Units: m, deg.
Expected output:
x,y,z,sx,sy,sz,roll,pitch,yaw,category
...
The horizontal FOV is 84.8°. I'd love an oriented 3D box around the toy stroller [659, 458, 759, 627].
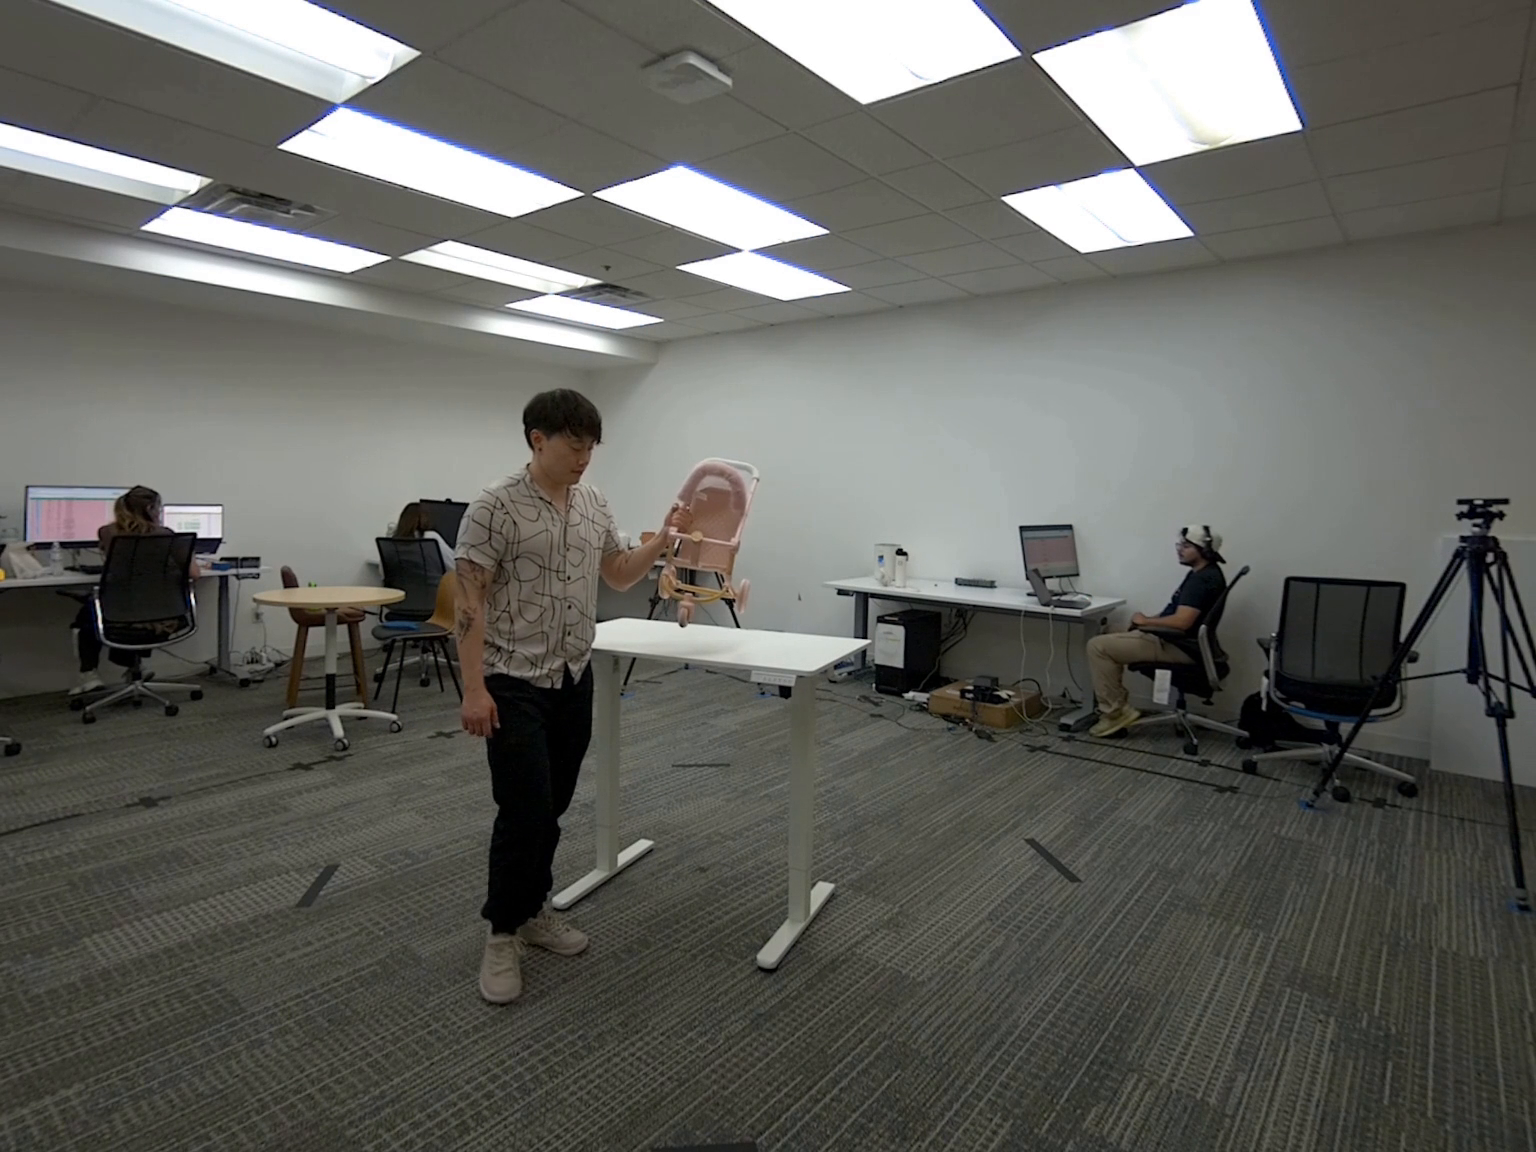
x,y,z,sx,sy,sz,roll,pitch,yaw,category
-0.200,-0.113,2.595,0.286,0.535,0.336,11,0,12,toy stroller
